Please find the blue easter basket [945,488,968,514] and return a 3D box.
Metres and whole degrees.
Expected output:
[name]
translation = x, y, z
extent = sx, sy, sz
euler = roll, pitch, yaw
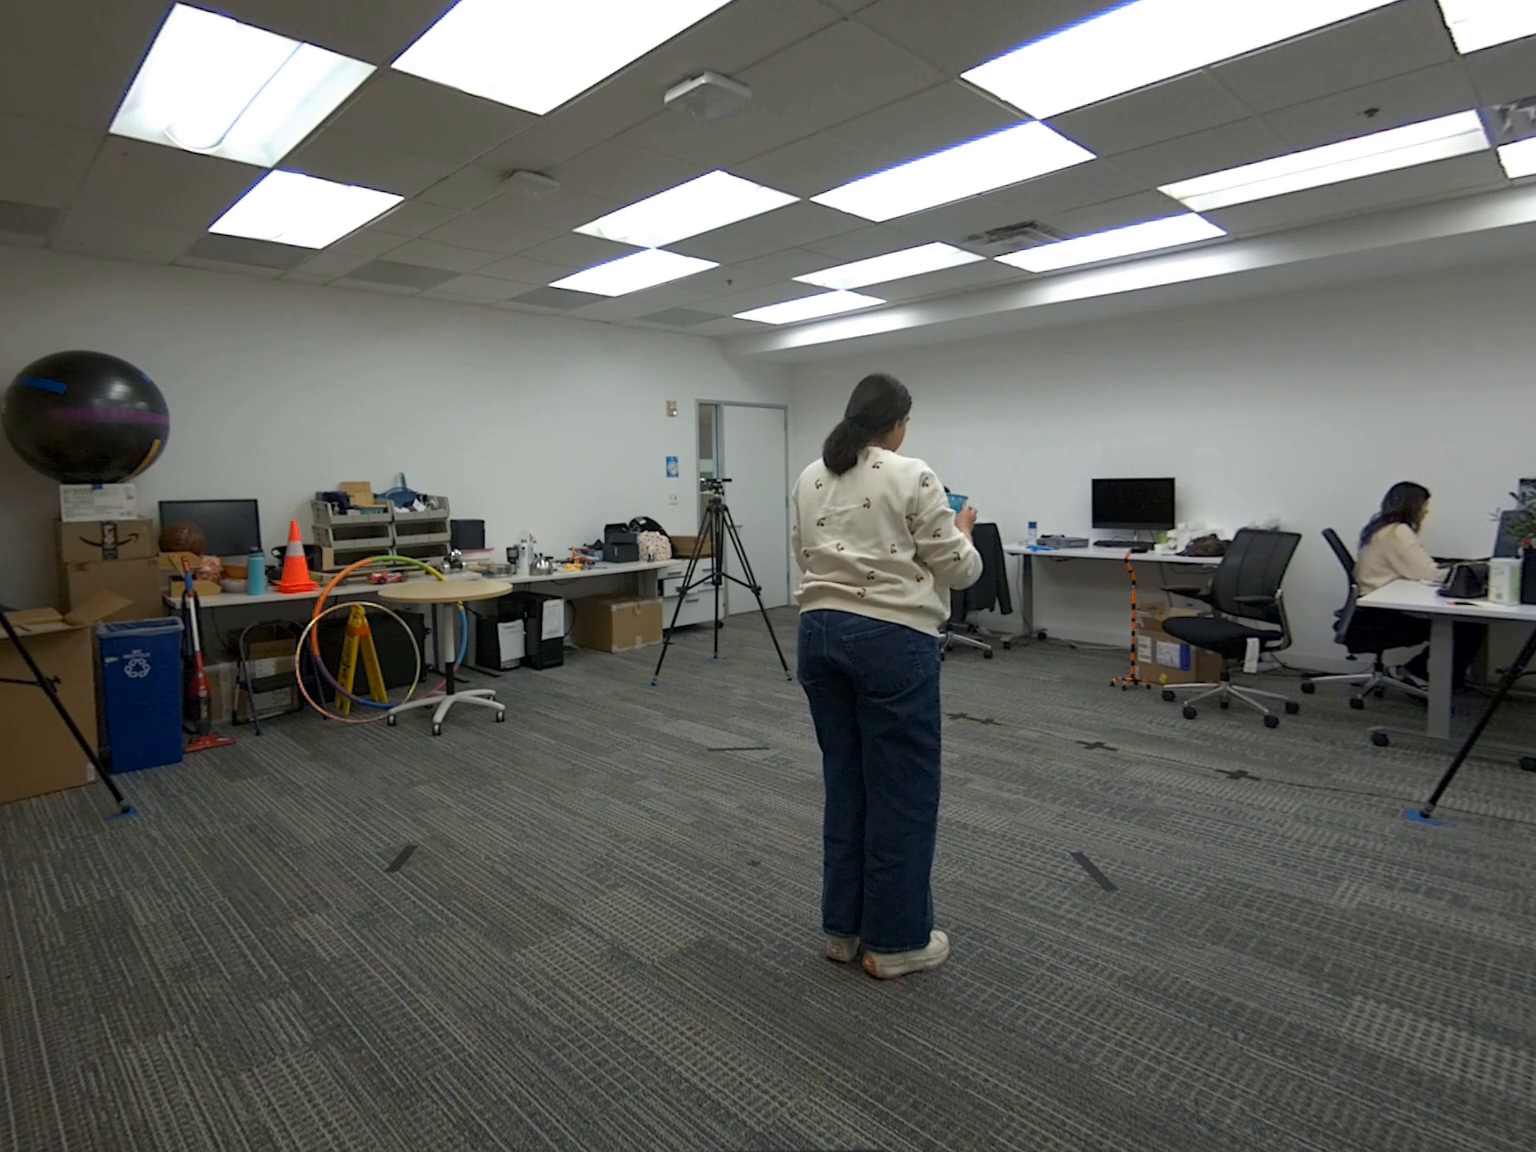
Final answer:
[blue easter basket]
translation = 0.557, -0.183, 2.780
extent = 0.243, 0.156, 0.244
euler = 1, 0, -2
